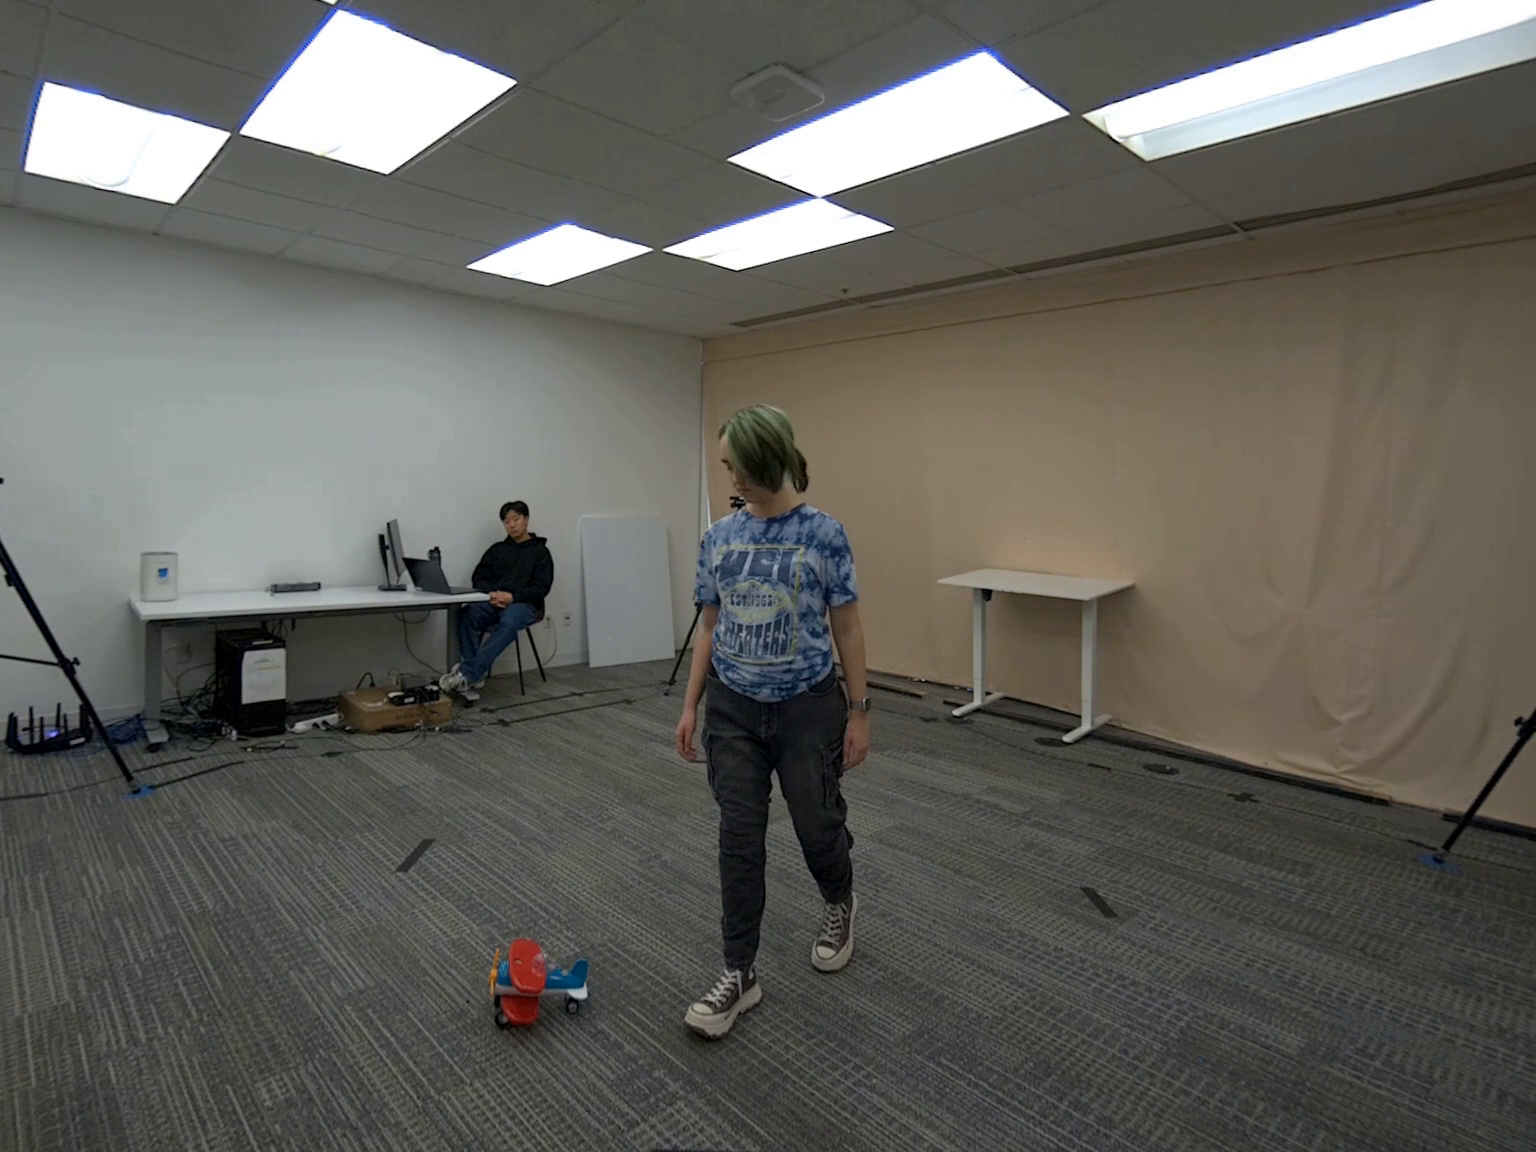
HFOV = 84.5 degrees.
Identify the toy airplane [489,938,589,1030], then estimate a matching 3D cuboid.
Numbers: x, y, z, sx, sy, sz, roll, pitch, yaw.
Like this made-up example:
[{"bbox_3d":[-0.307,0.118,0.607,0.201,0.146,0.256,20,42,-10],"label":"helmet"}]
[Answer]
[{"bbox_3d":[-0.623,1.097,2.264,0.257,0.156,0.253,5,7,45],"label":"toy airplane"}]
